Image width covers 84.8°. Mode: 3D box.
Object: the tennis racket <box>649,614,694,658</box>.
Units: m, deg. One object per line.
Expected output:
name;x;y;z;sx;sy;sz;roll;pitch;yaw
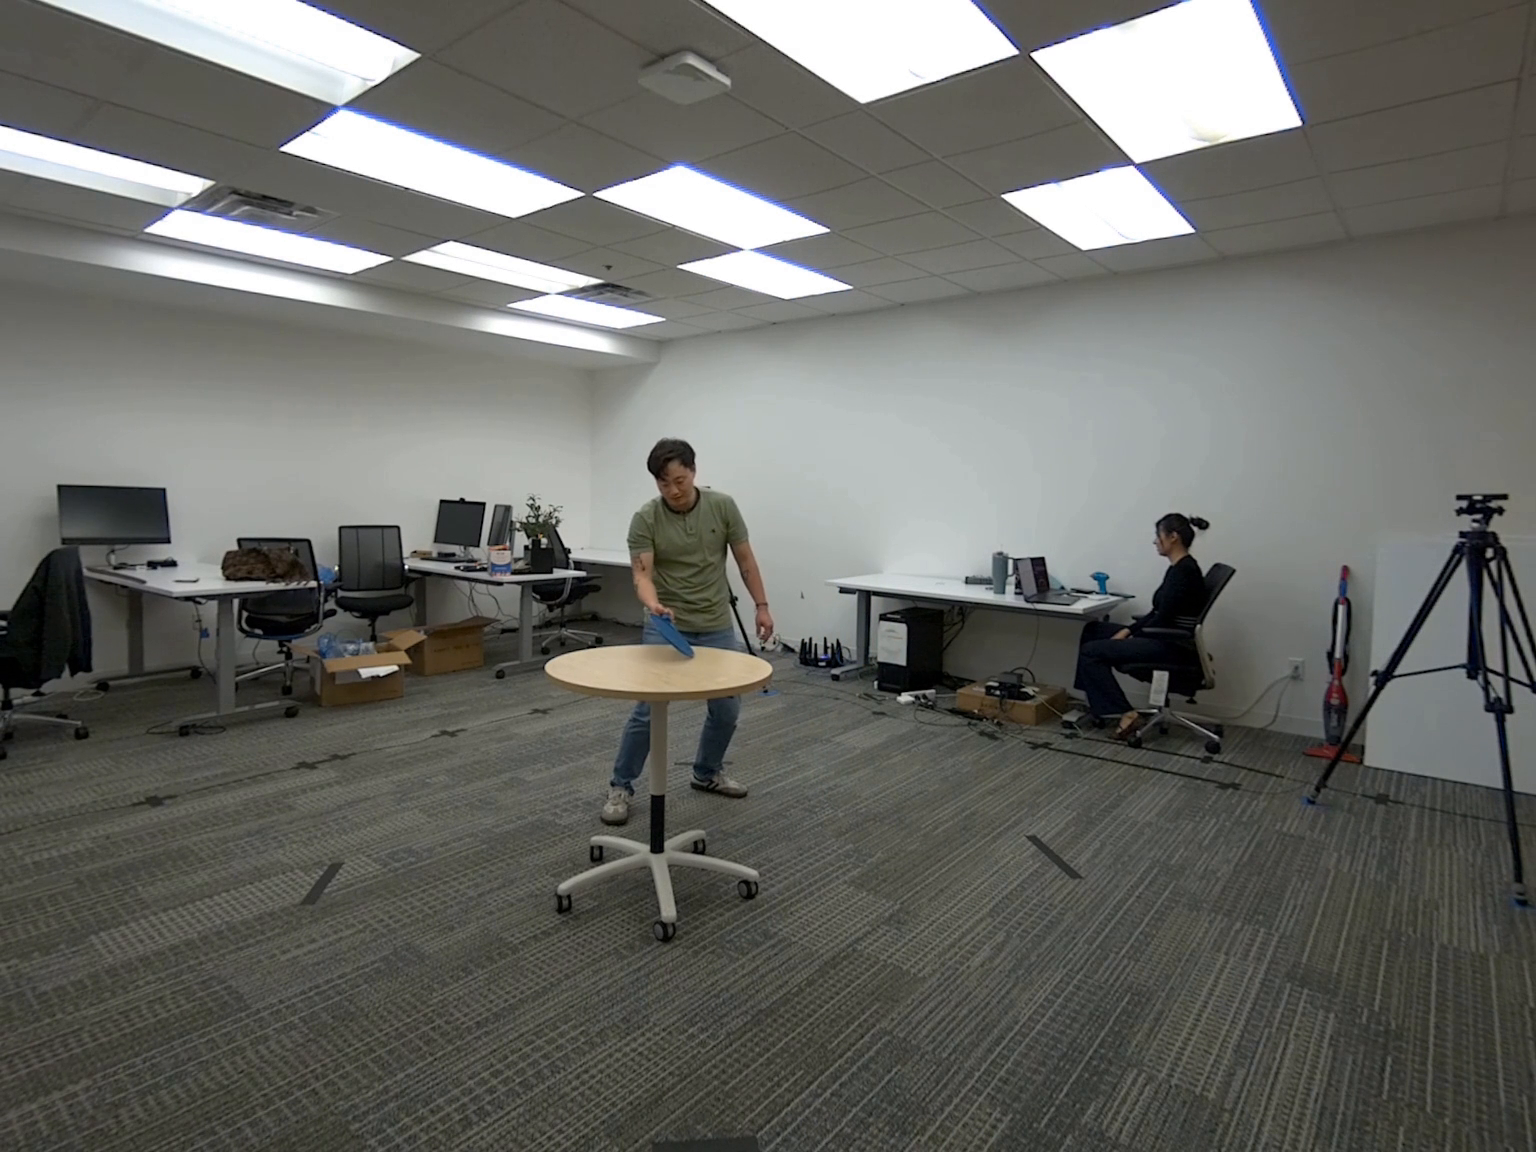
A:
tennis racket;-0.381;0.191;3.142;0.209;0.032;0.442;42;2;-16
